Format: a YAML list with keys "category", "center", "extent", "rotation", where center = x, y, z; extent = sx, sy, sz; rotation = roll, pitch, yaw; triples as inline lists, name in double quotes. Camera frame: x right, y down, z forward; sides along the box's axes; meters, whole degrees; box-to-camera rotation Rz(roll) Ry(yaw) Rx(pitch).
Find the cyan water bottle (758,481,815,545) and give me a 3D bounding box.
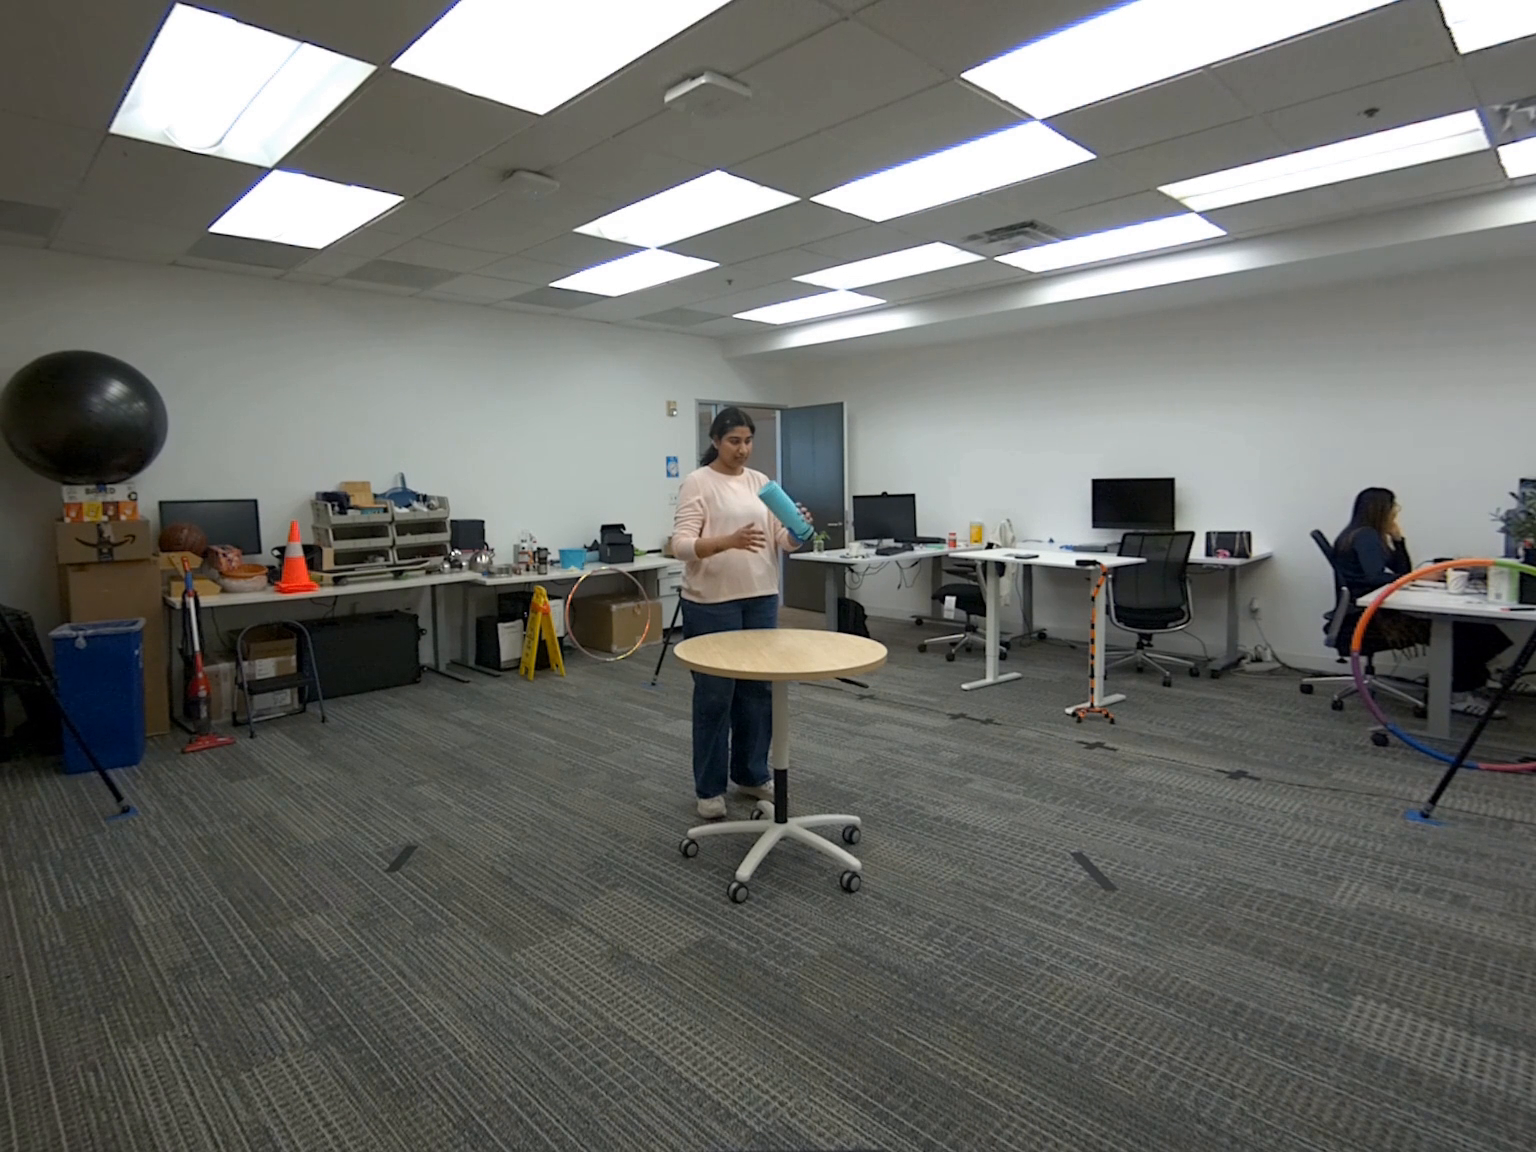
- category: "cyan water bottle"
  center: [0.078, -0.241, 3.350]
  extent: [0.092, 0.278, 0.094]
  rotation: [-37, 15, 11]
